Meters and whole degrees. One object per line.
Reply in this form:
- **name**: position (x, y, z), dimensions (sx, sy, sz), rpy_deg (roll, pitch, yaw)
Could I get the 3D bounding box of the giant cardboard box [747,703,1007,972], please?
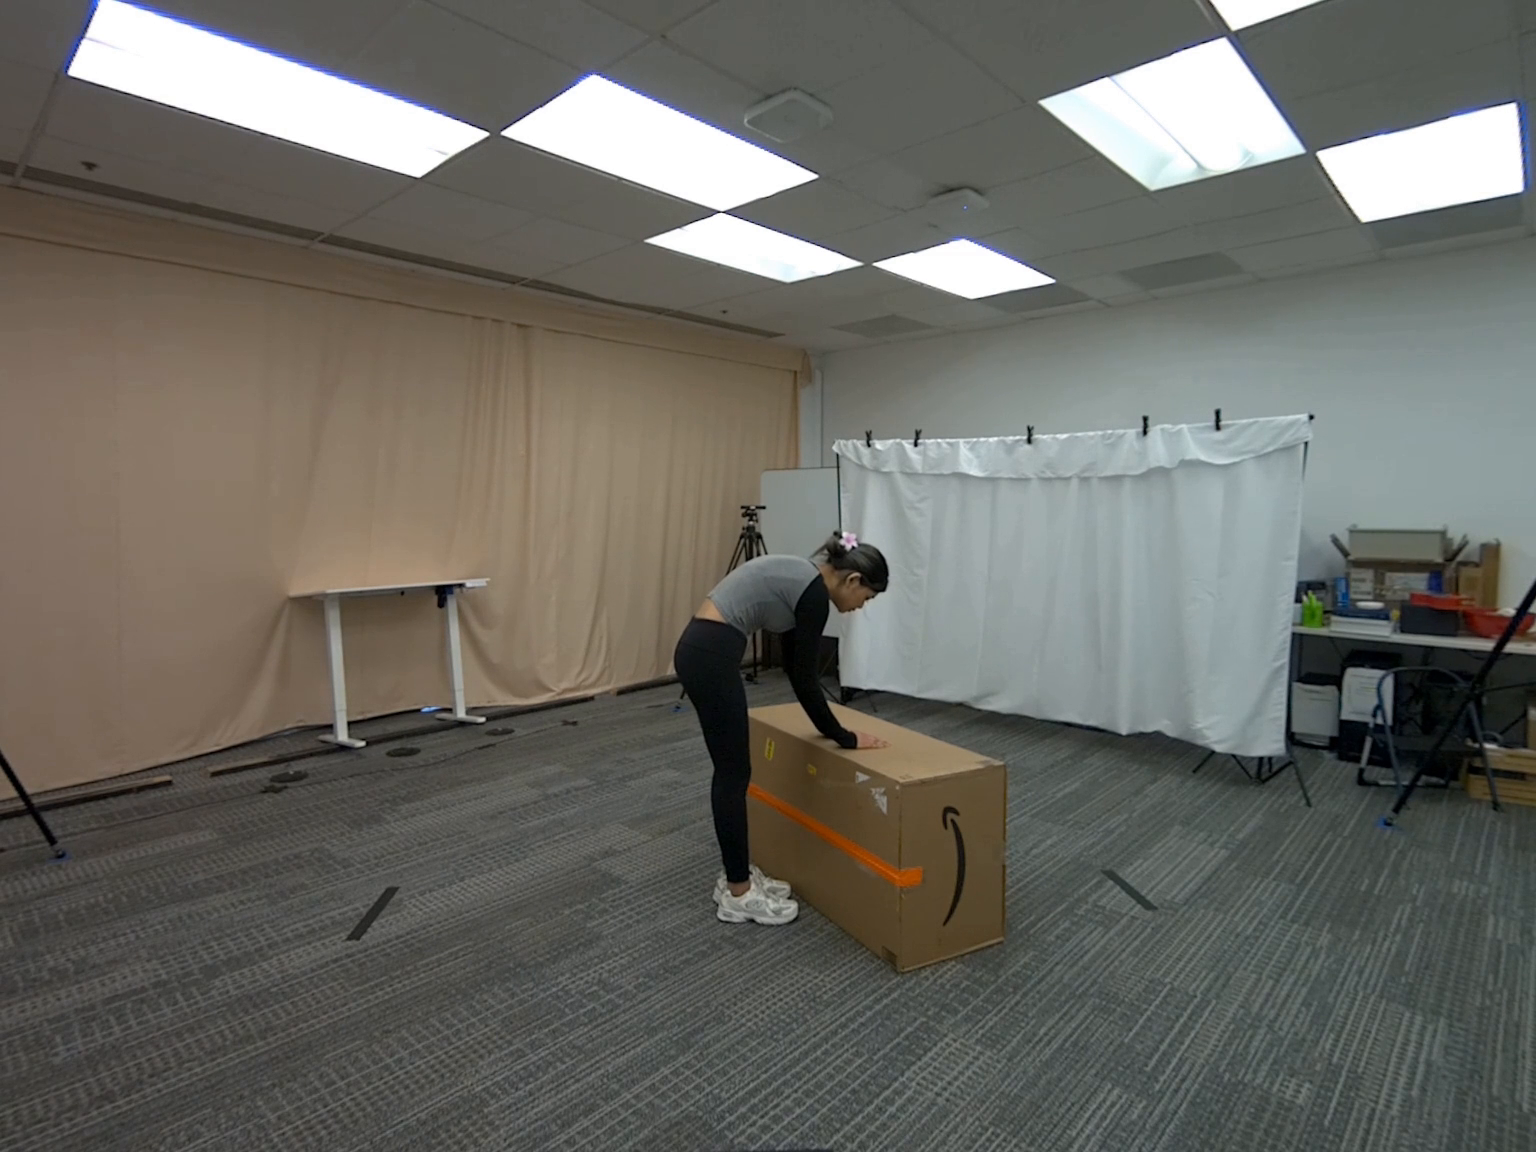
- **giant cardboard box**: position (0.320, 0.850, 3.032), dimensions (0.415, 0.576, 1.055), rpy_deg (-2, 4, -29)
